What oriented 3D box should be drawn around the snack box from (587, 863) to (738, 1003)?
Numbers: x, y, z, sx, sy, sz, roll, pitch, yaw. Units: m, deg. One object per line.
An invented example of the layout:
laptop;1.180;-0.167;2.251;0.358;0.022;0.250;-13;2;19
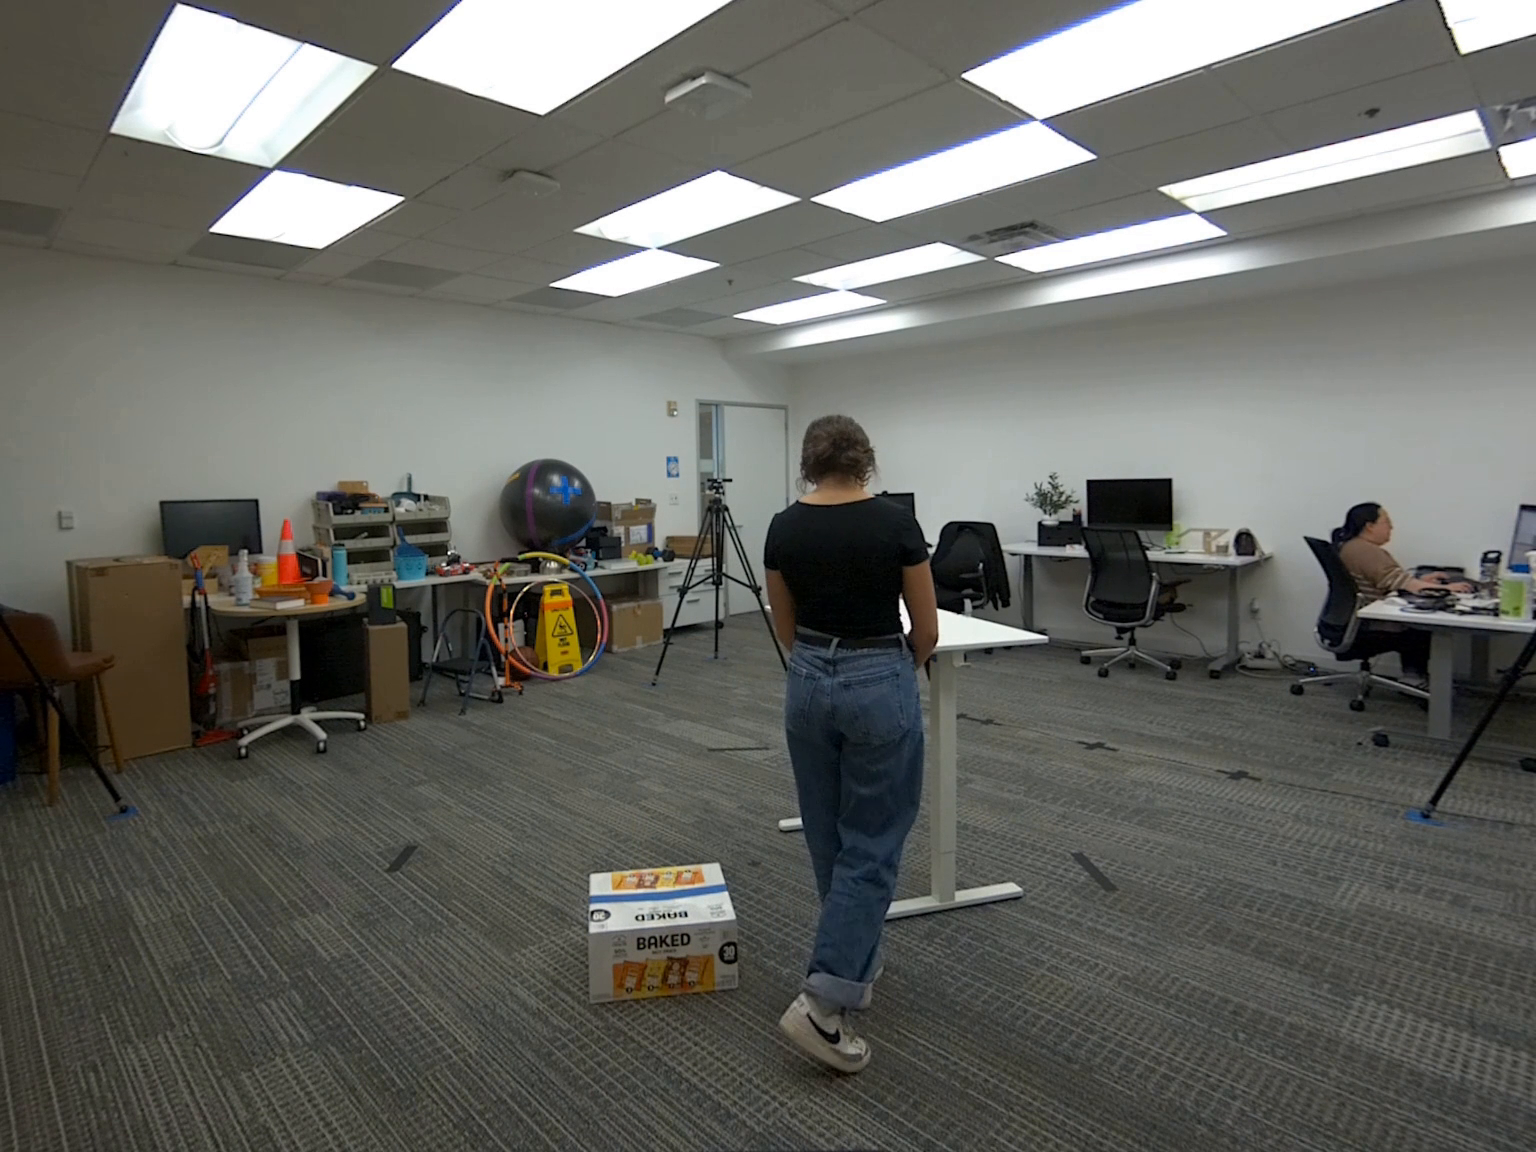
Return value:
snack box;-0.308;1.024;2.470;0.402;0.205;0.345;-2;6;-10
